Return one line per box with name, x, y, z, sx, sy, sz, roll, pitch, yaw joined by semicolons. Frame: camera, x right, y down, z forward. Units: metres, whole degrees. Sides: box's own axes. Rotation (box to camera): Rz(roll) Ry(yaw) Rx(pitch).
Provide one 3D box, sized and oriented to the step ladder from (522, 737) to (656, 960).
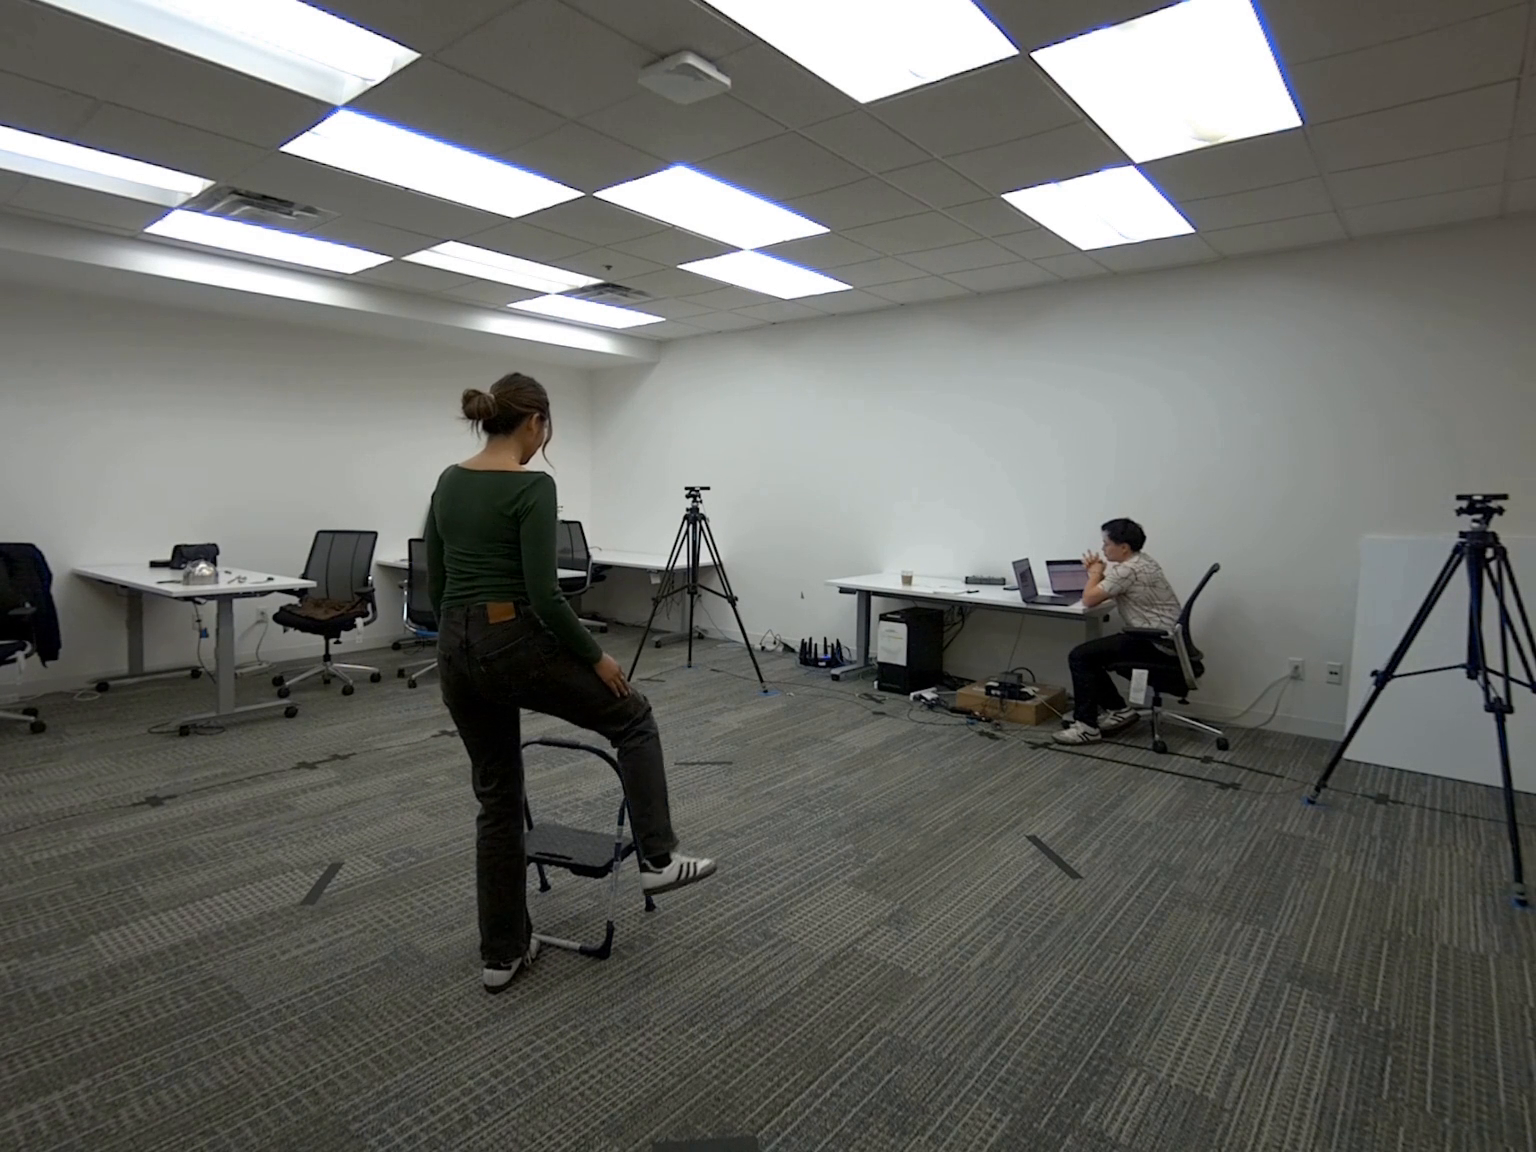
step ladder;-0.627;0.798;2.703;0.439;0.604;0.344;2;3;17
